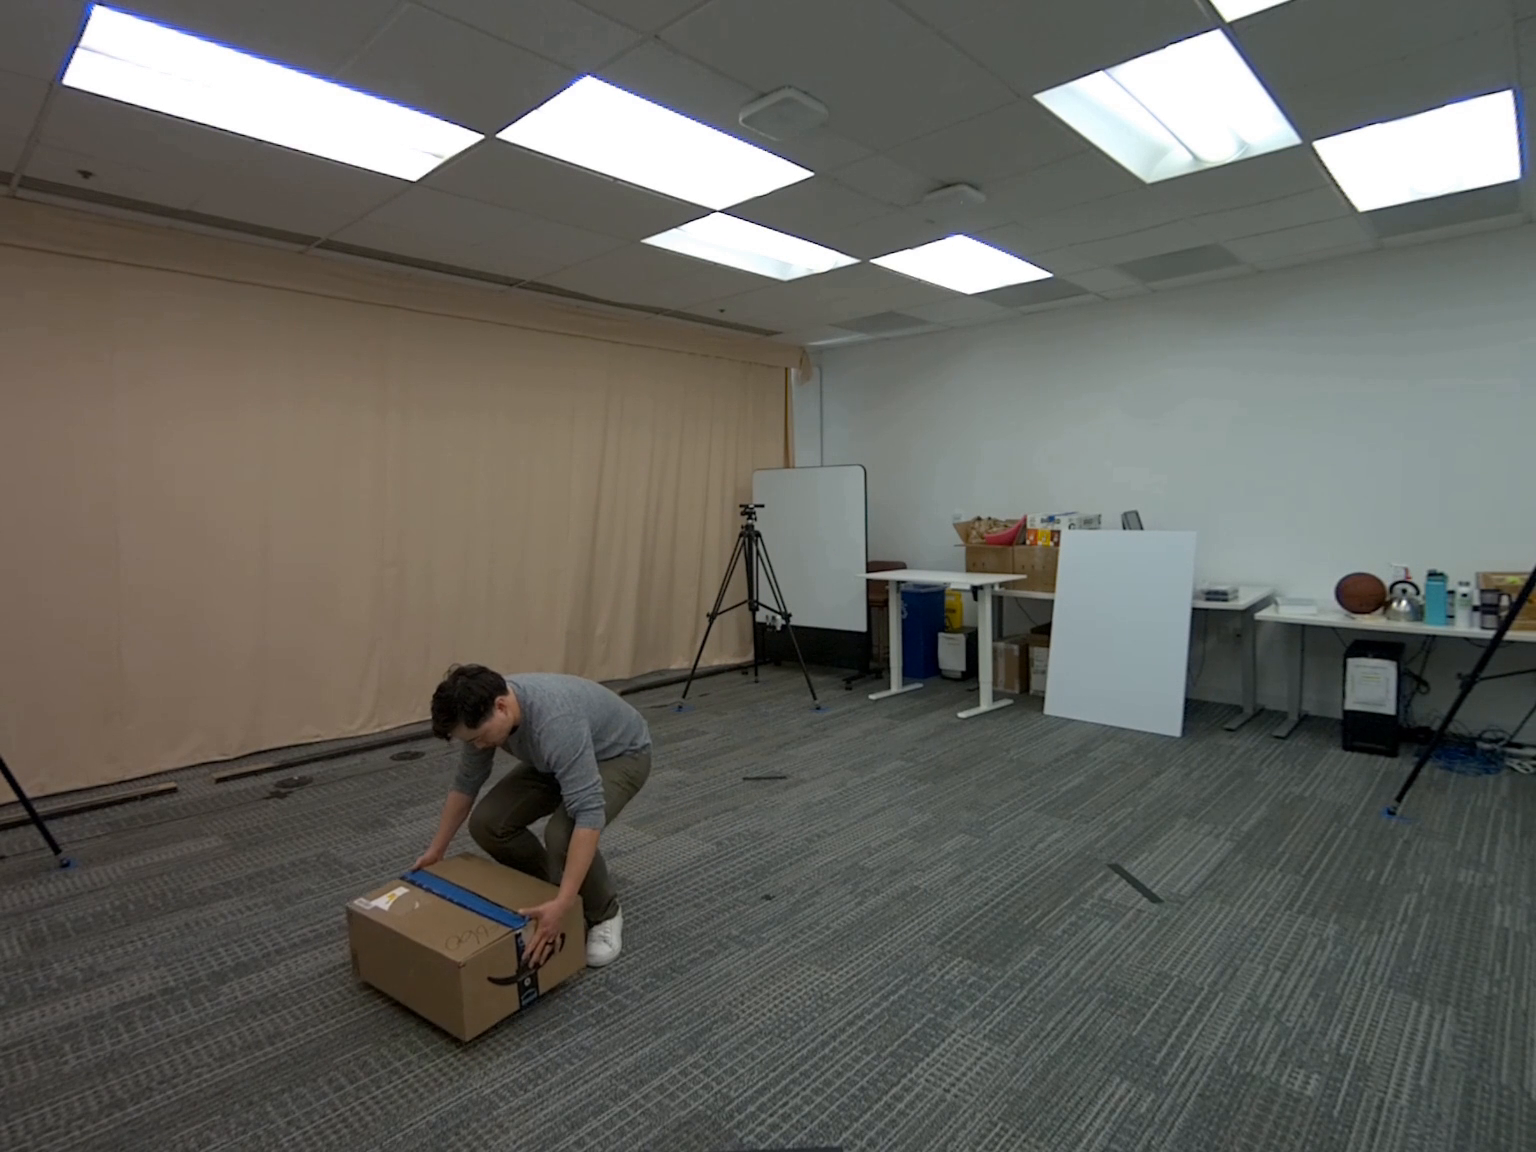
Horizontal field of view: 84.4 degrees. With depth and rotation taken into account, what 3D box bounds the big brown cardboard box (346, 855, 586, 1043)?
[{"bbox_3d":[-0.887,1.040,2.466,0.608,0.232,0.406,3,9,36],"label":"big brown cardboard box"}]
